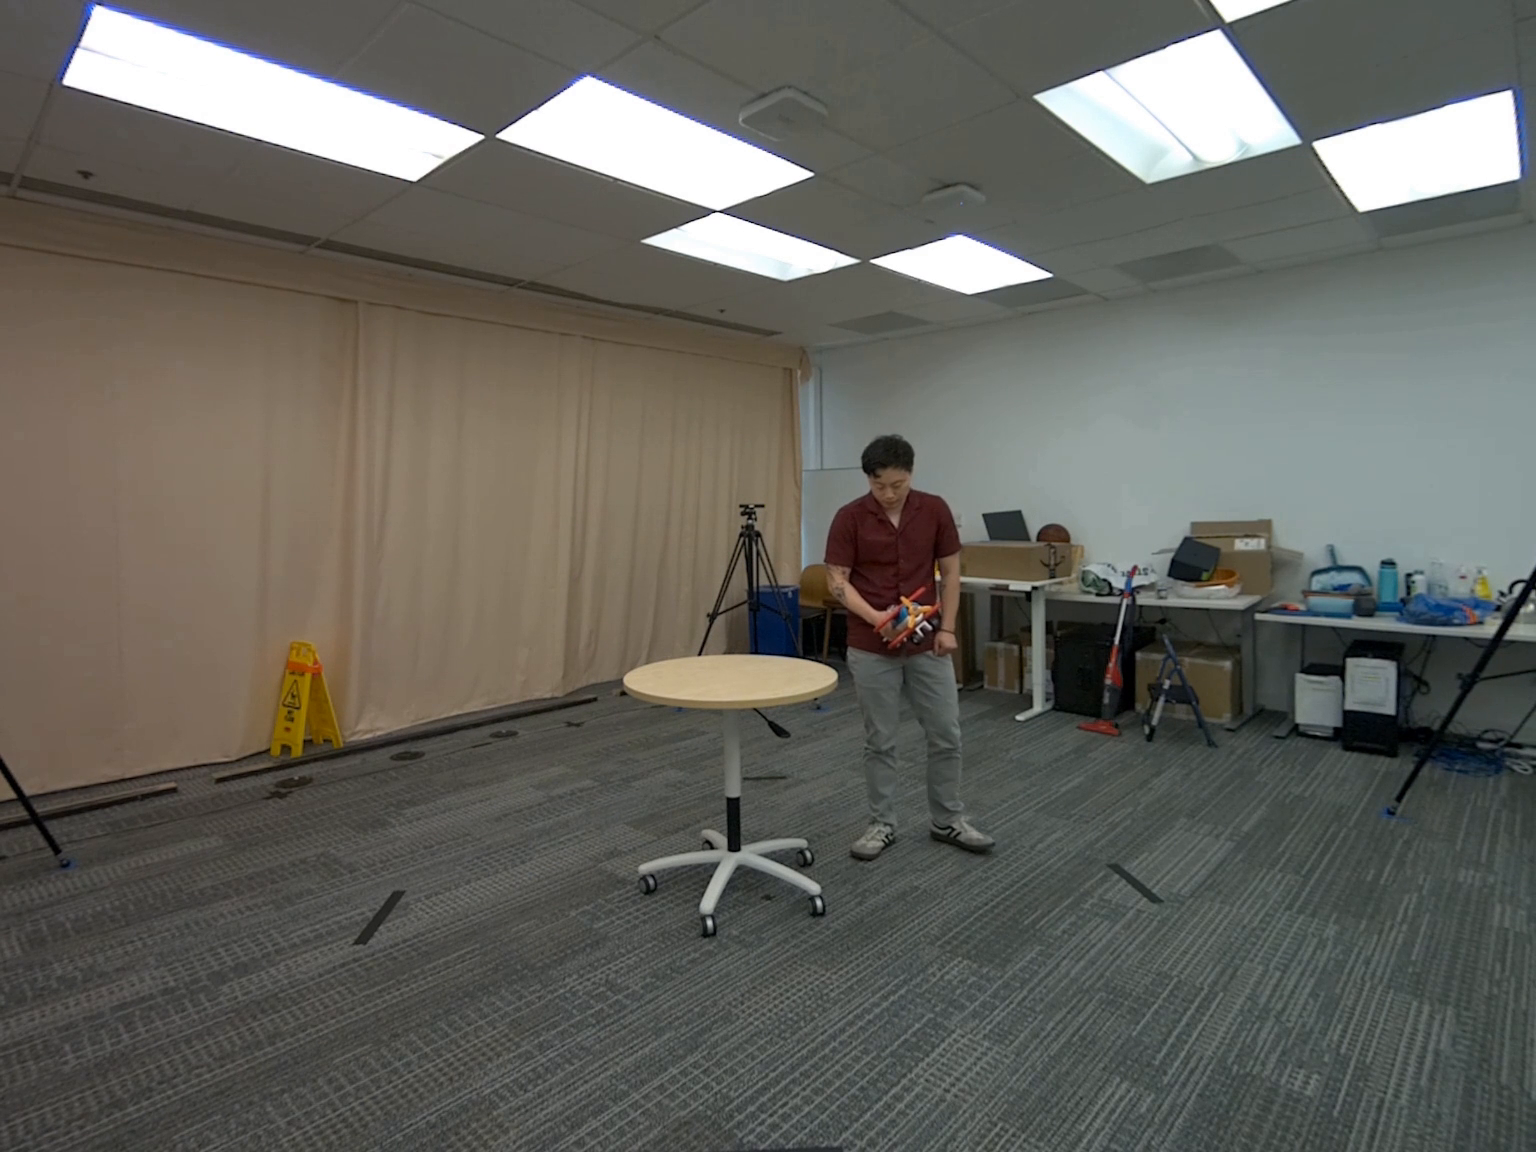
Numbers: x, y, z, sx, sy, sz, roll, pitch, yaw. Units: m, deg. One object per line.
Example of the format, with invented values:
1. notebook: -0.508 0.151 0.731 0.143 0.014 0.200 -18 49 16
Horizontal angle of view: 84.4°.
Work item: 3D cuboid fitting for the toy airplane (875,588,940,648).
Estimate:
1. toy airplane: 0.494 0.188 3.101 0.263 0.156 0.247 -33 2 41
